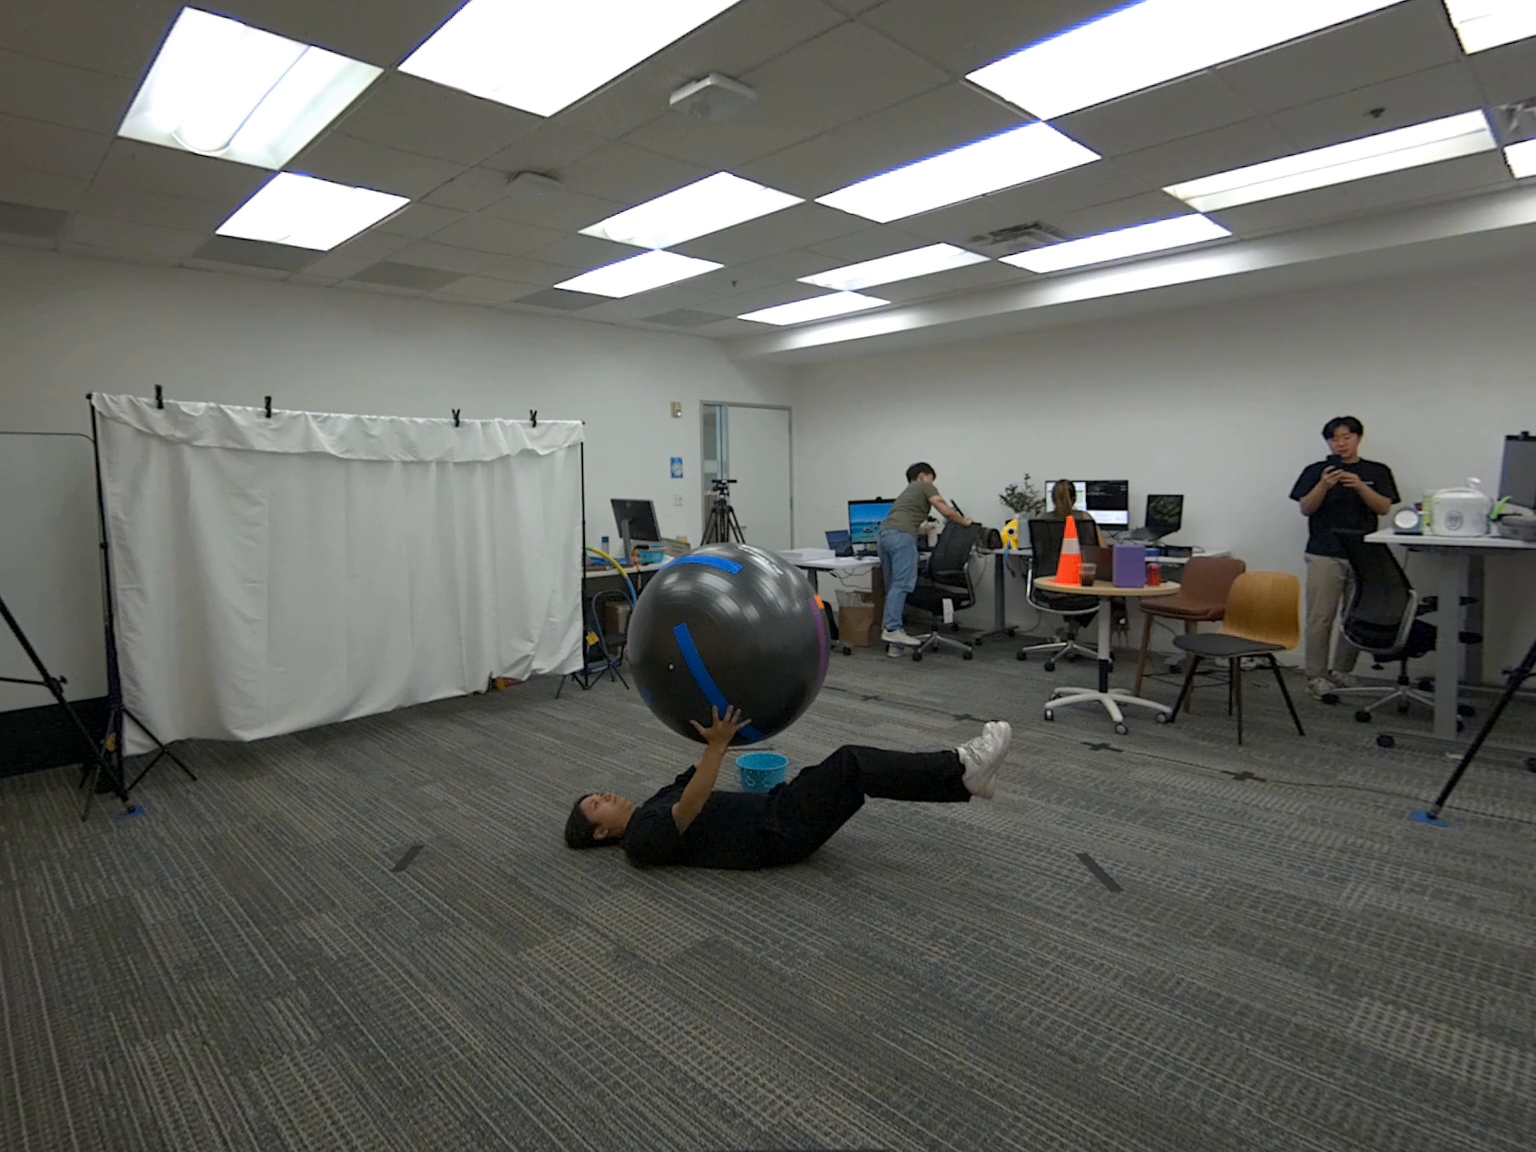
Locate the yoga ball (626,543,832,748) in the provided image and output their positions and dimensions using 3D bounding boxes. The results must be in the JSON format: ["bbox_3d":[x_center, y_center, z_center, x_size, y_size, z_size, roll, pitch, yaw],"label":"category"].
[{"bbox_3d":[-0.152,0.261,3.212,0.757,0.755,0.762,-1,5,-2],"label":"yoga ball"}]
